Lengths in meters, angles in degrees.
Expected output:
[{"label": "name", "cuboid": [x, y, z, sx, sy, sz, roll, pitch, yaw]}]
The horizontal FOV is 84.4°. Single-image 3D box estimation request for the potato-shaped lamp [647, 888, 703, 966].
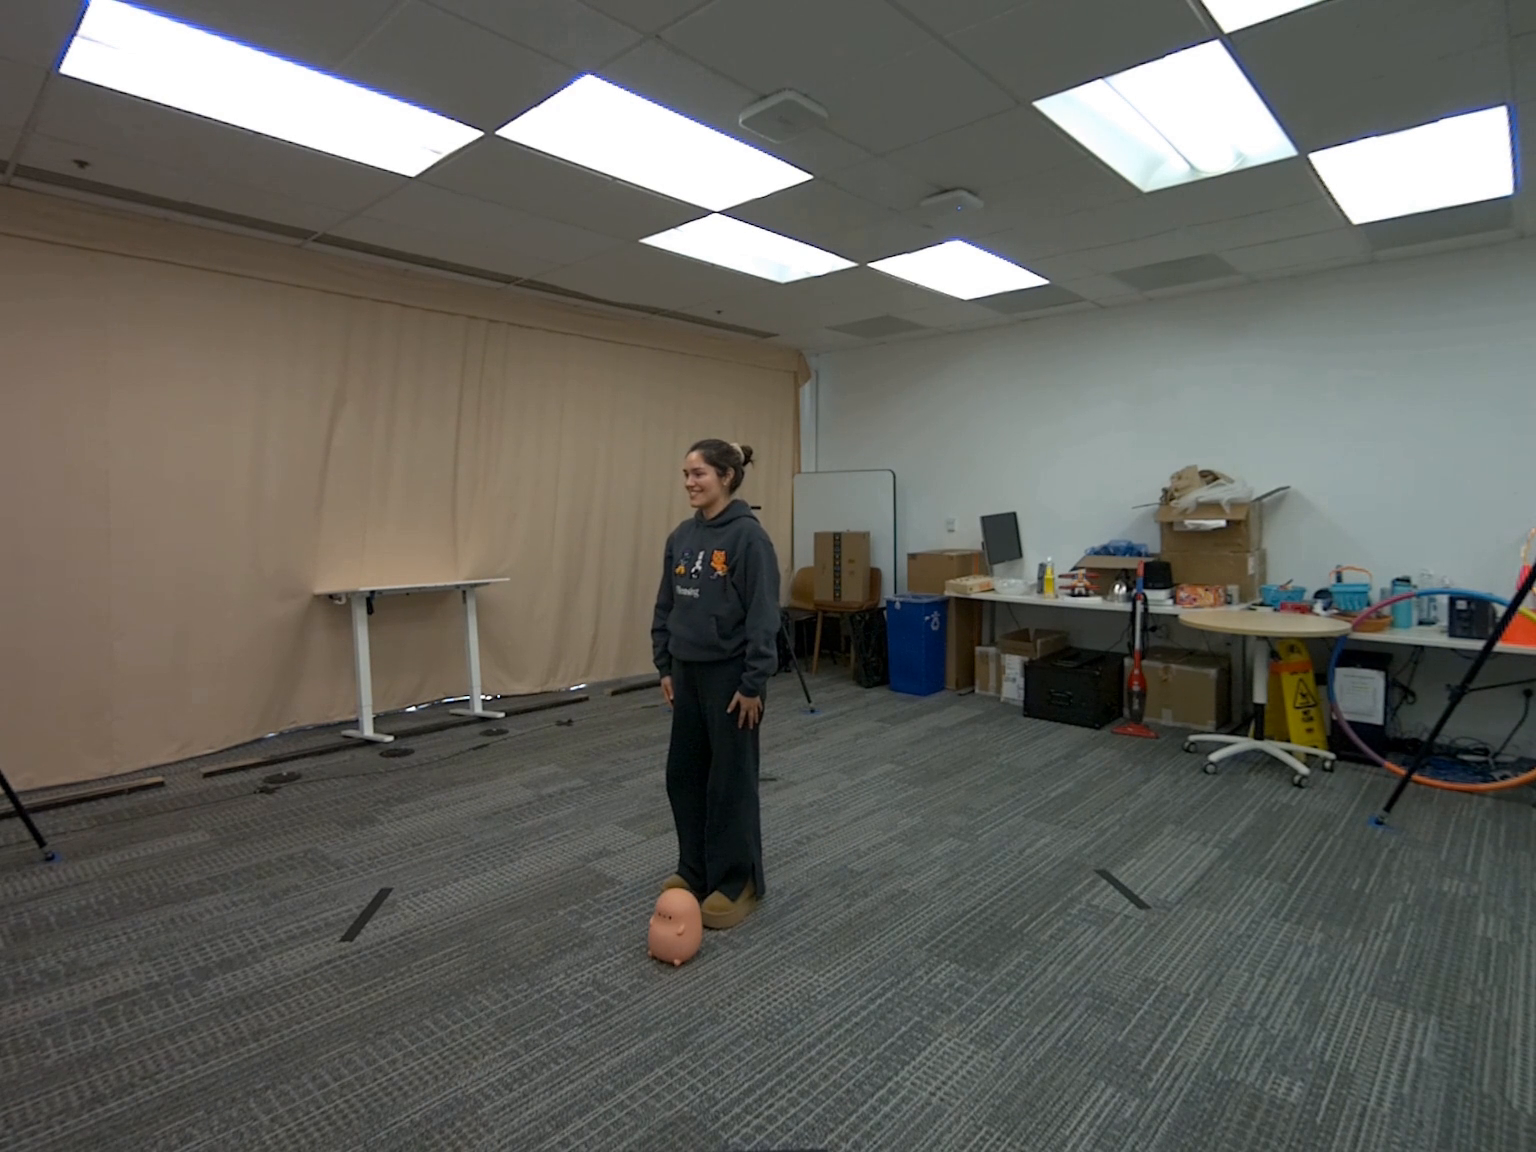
[{"label": "potato-shaped lamp", "cuboid": [-0.277, 1.072, 2.620, 0.170, 0.198, 0.166, 1, 4, 36]}]
